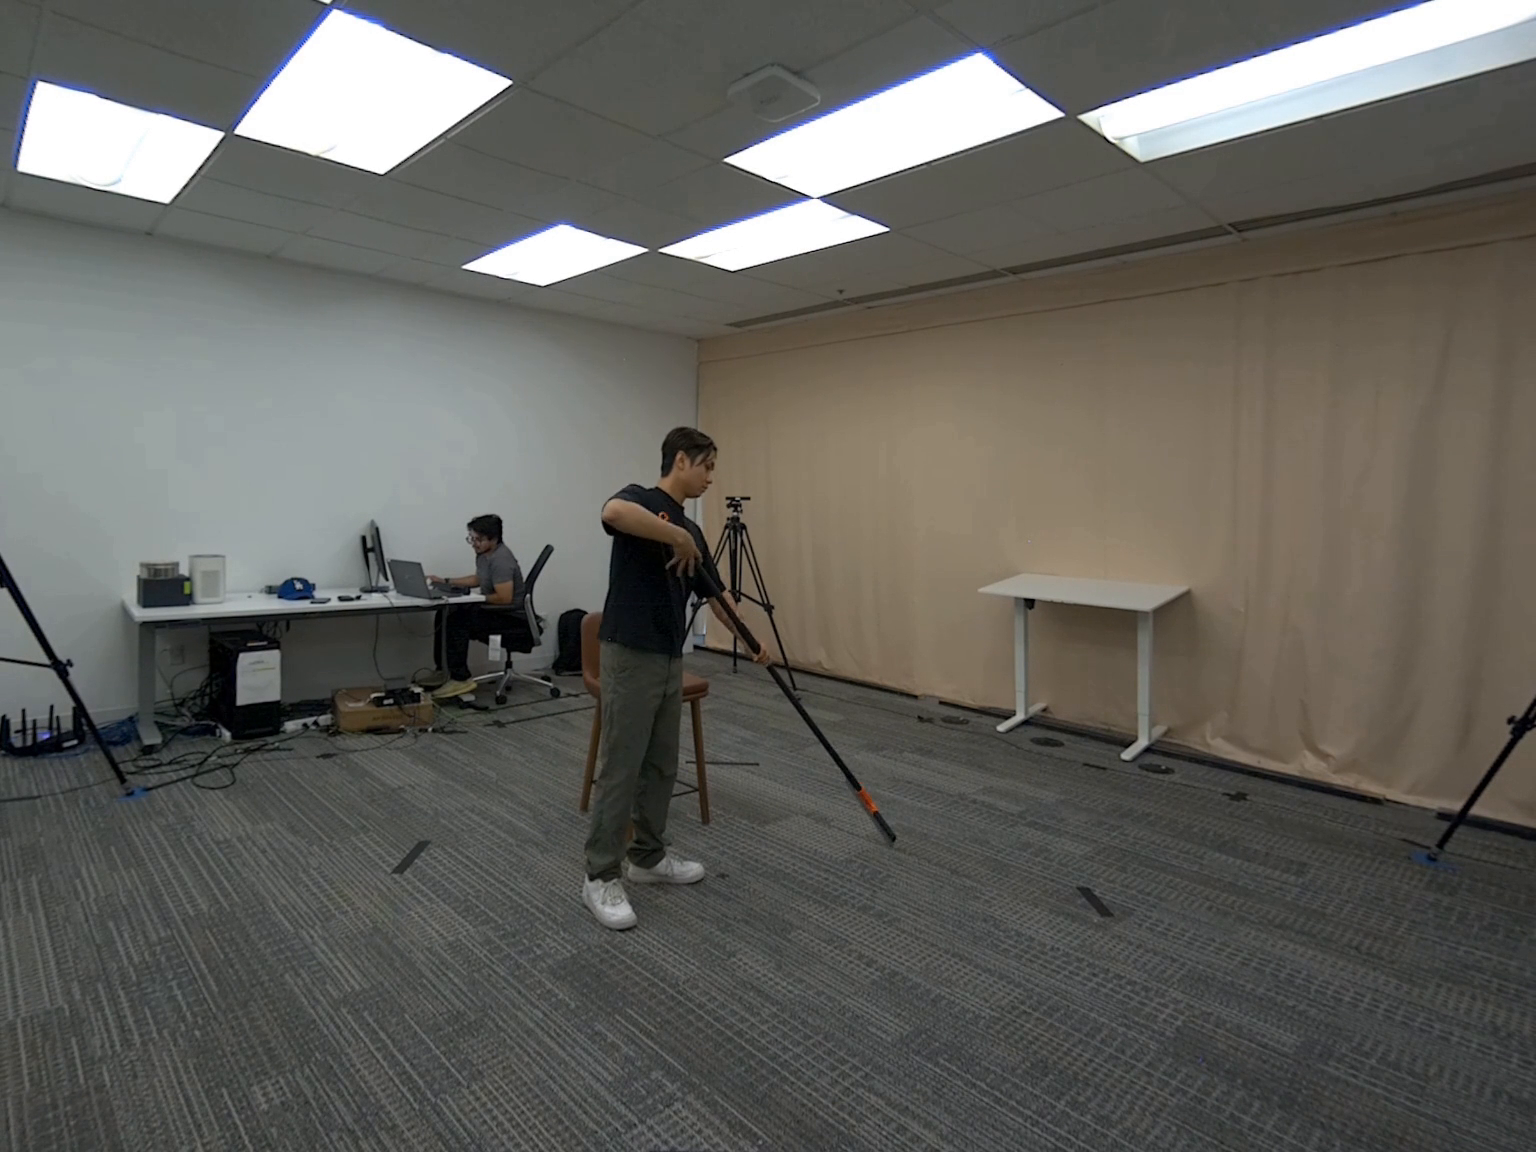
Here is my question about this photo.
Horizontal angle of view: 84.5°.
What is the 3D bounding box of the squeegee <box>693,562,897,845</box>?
[{"bbox_3d":[0.035,0.361,3.050,0.053,1.501,0.448,-35,25,-4],"label":"squeegee"}]
